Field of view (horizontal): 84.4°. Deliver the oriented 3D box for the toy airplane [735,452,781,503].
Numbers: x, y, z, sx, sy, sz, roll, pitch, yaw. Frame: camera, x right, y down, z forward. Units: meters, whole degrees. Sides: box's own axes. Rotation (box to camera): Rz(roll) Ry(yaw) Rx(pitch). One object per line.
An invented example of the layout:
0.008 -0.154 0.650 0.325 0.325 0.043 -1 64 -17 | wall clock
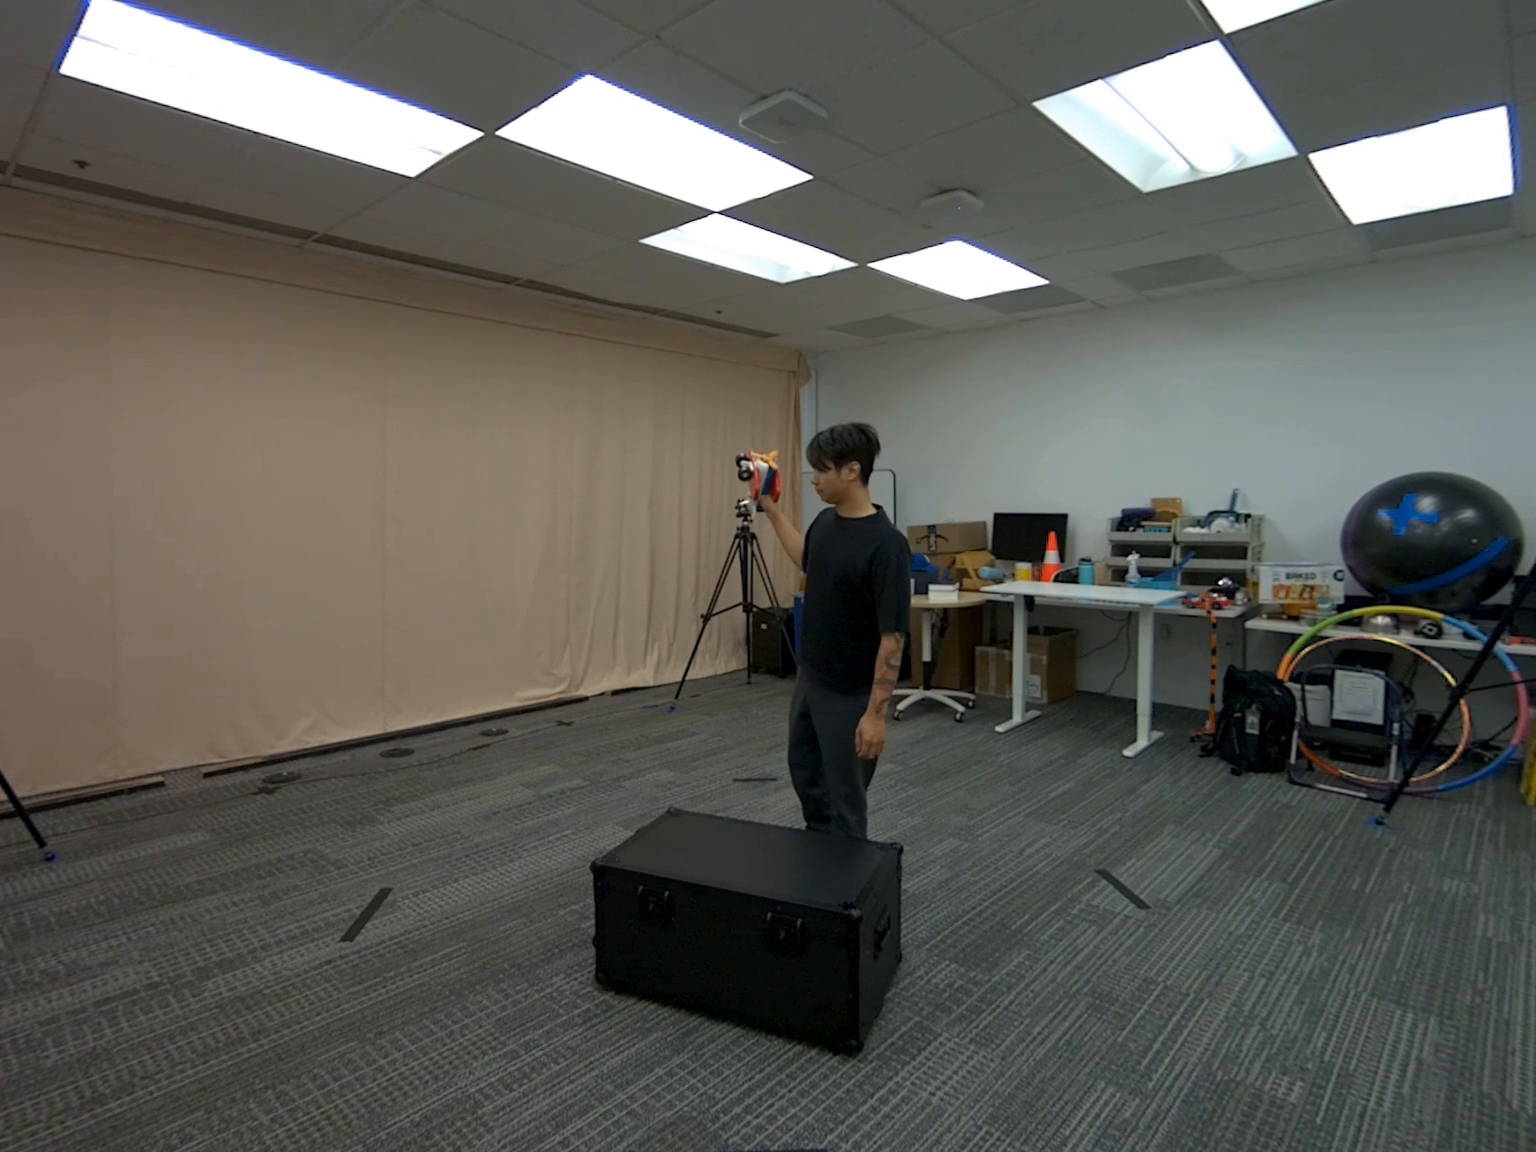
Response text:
-0.037 -0.356 3.171 0.156 0.255 0.256 -3 -22 -2 | toy airplane
